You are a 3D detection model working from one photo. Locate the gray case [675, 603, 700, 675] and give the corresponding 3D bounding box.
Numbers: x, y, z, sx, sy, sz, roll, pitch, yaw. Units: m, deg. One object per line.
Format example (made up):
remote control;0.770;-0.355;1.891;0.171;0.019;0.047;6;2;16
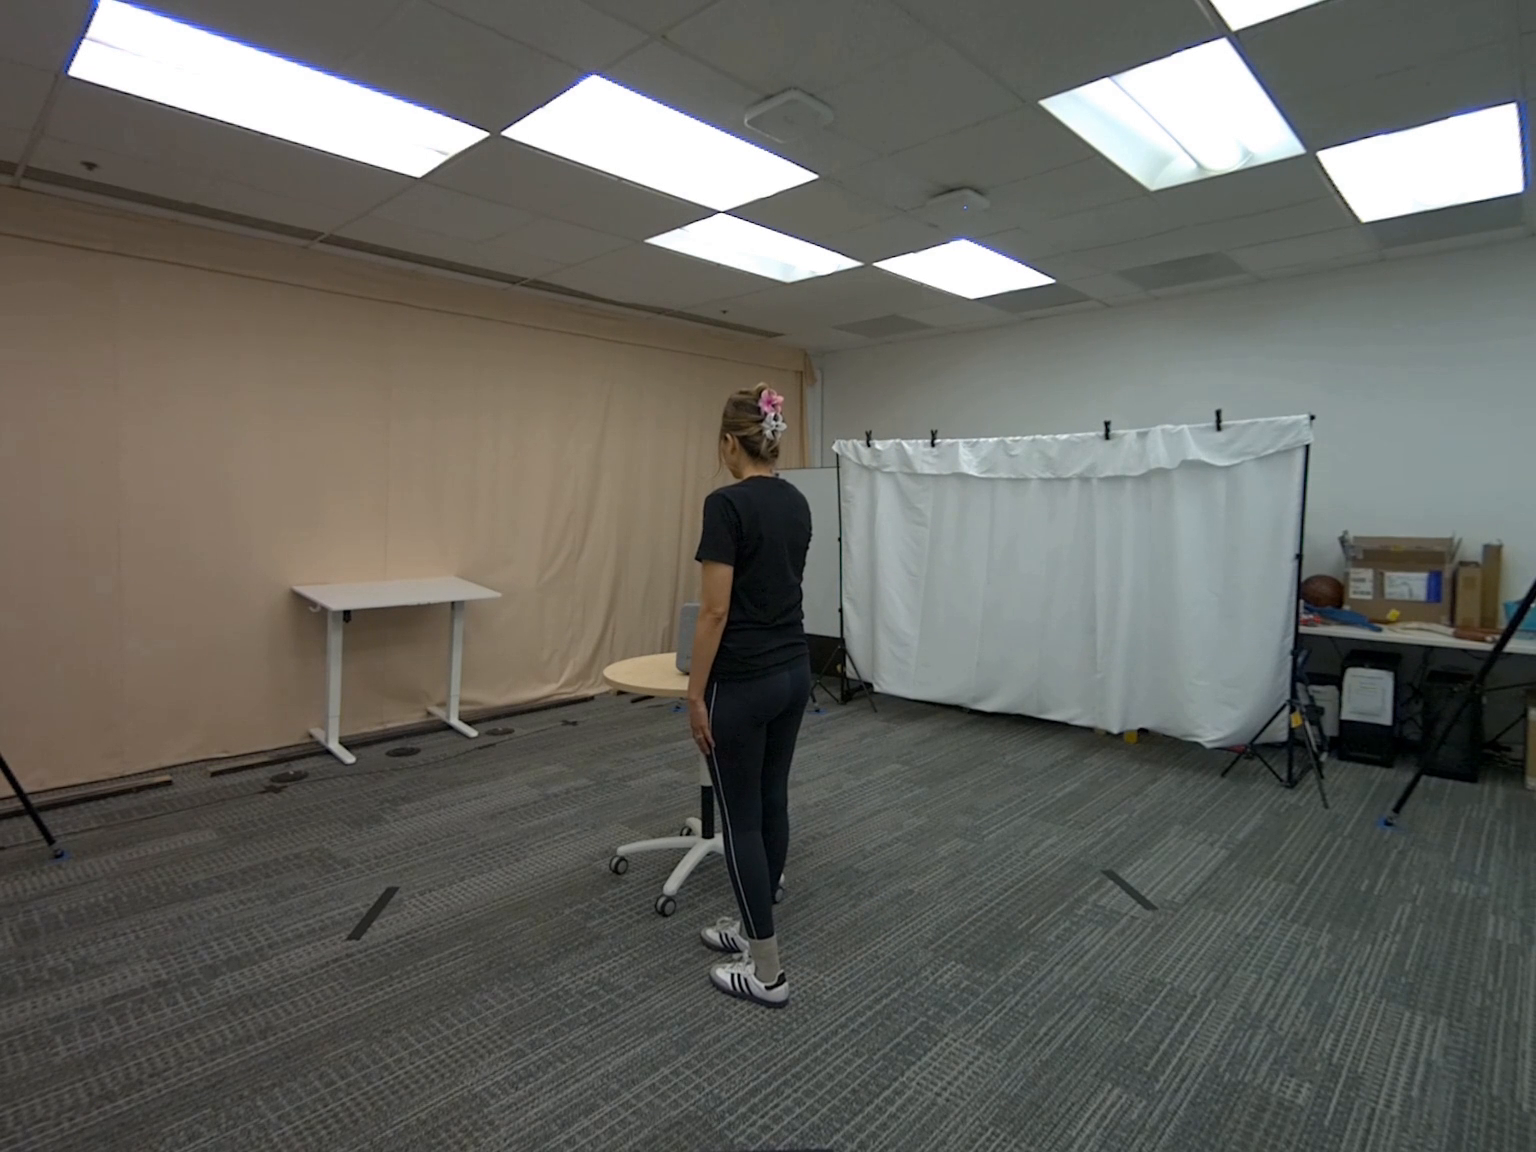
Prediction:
gray case;-0.198;0.223;3.041;0.263;0.262;0.101;2;-9;23
